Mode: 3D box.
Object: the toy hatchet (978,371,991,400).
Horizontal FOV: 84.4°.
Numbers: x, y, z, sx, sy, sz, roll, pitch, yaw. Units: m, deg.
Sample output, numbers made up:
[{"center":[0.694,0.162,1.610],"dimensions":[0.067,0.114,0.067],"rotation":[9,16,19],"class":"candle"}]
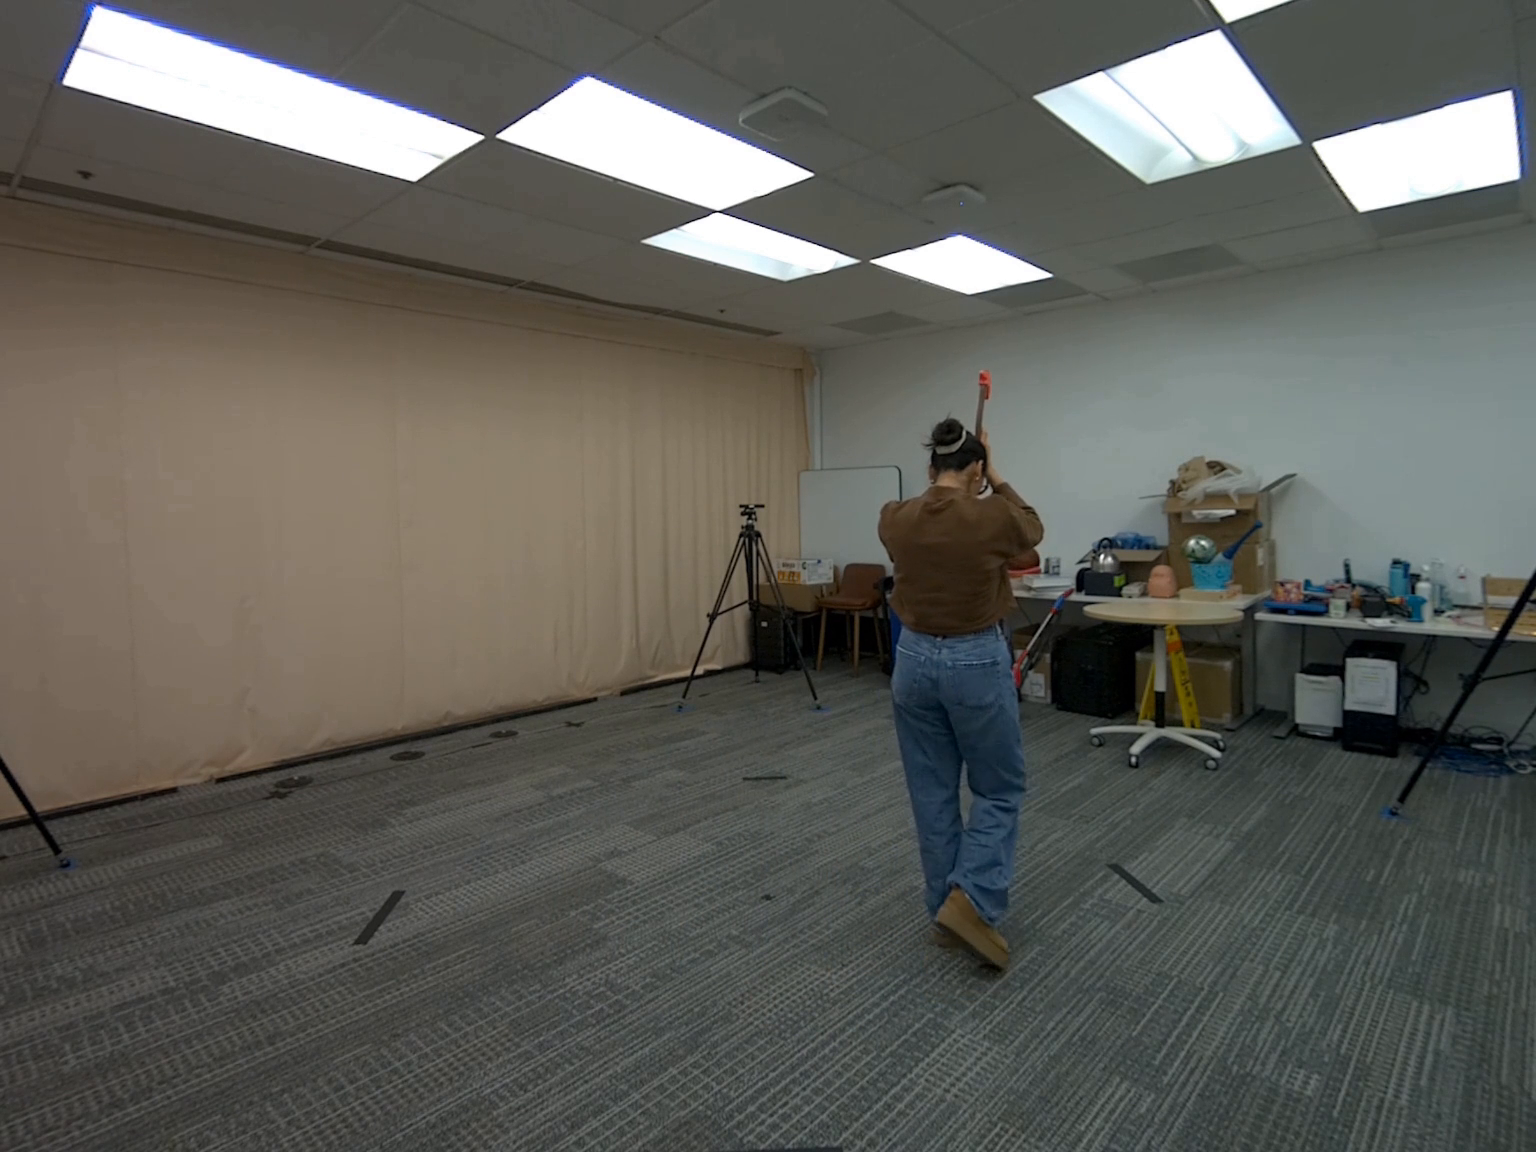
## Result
[{"center":[0.719,-0.544,2.774],"dimensions":[0.030,0.269,0.128],"rotation":[5,9,24],"class":"toy hatchet"}]
